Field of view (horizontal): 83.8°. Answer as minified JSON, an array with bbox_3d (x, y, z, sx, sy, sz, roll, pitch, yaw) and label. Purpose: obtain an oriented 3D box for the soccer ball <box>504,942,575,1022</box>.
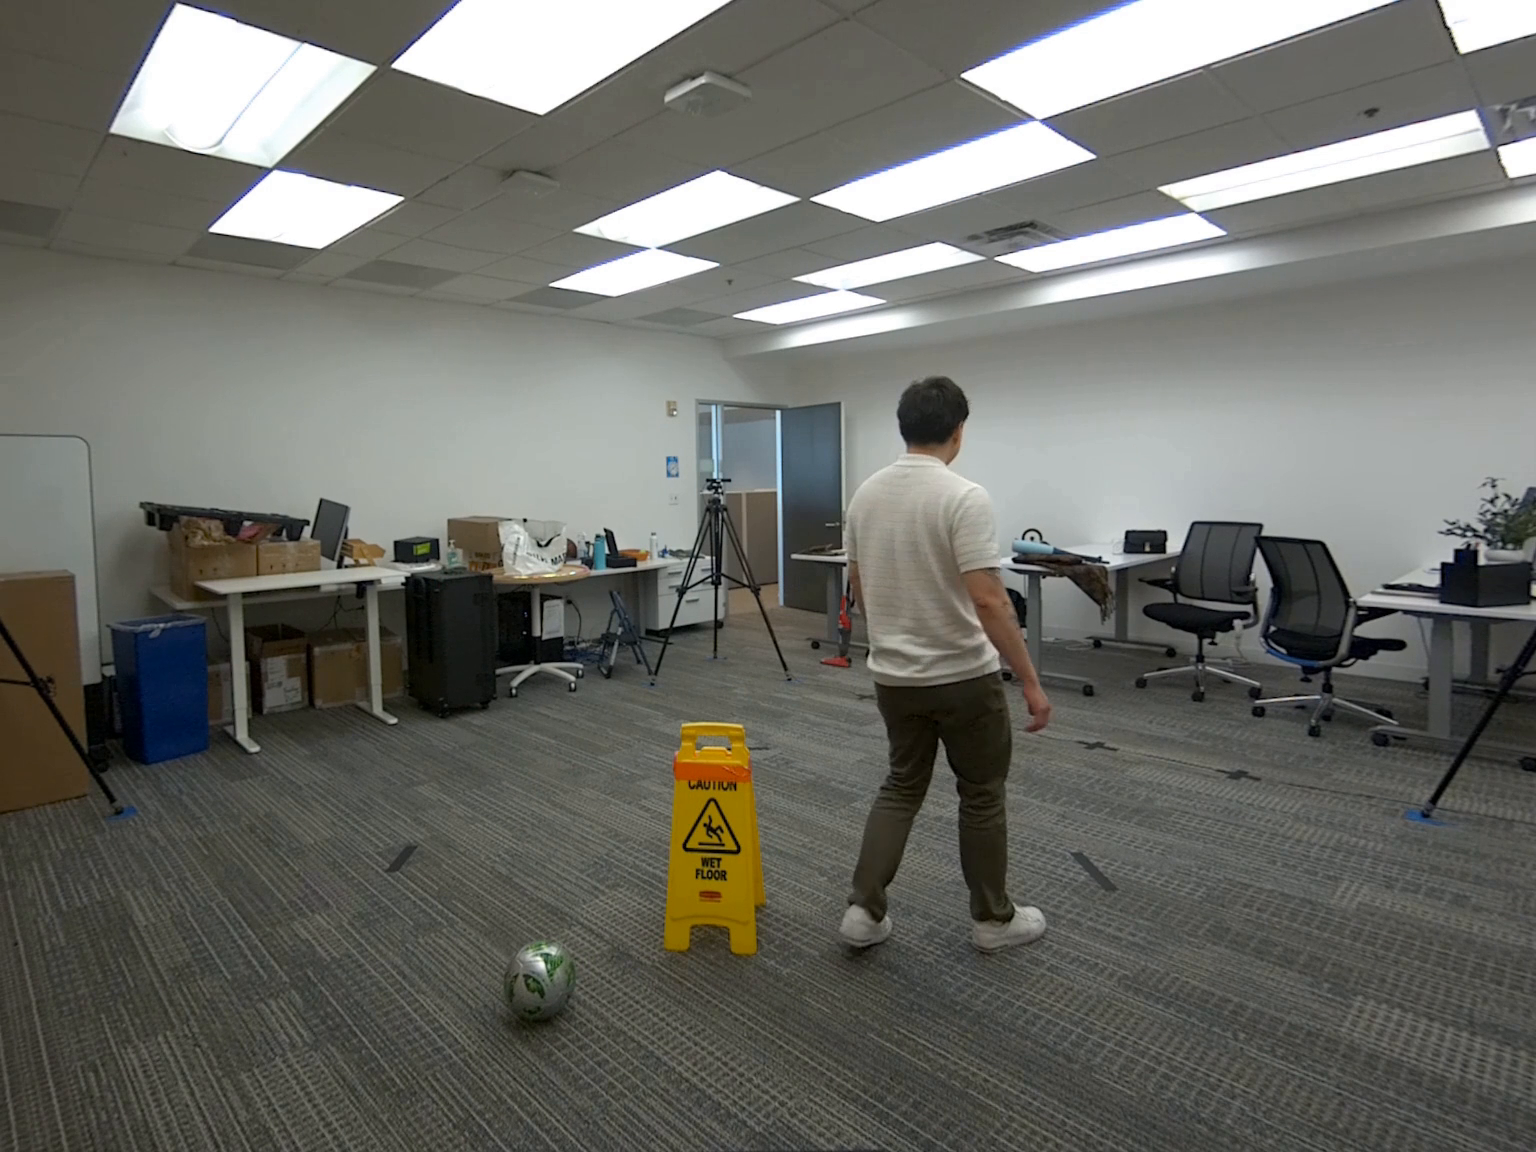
[{"bbox_3d":[-0.592,1.073,2.252,0.187,0.187,0.188,-1,5,-2],"label":"soccer ball"}]
